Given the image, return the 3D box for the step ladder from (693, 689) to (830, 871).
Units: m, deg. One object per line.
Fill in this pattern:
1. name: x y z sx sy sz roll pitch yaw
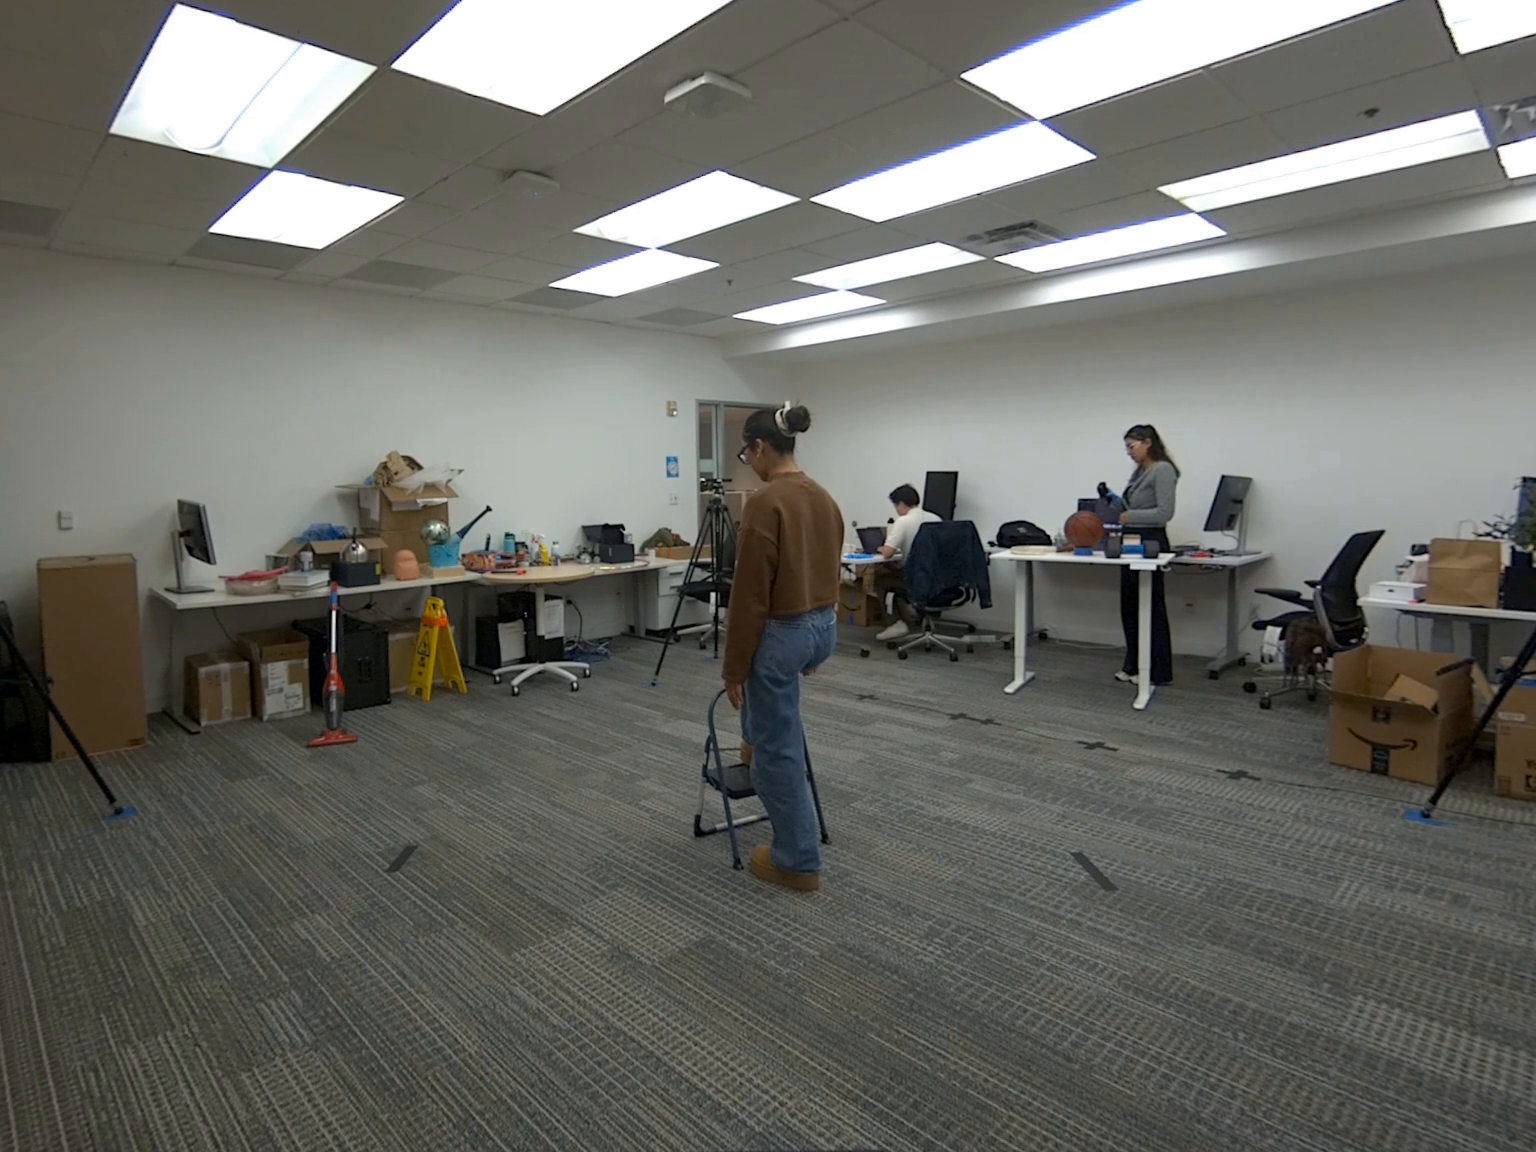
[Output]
1. step ladder: -0.031 0.721 3.291 0.420 0.604 0.359 -4 5 -33
